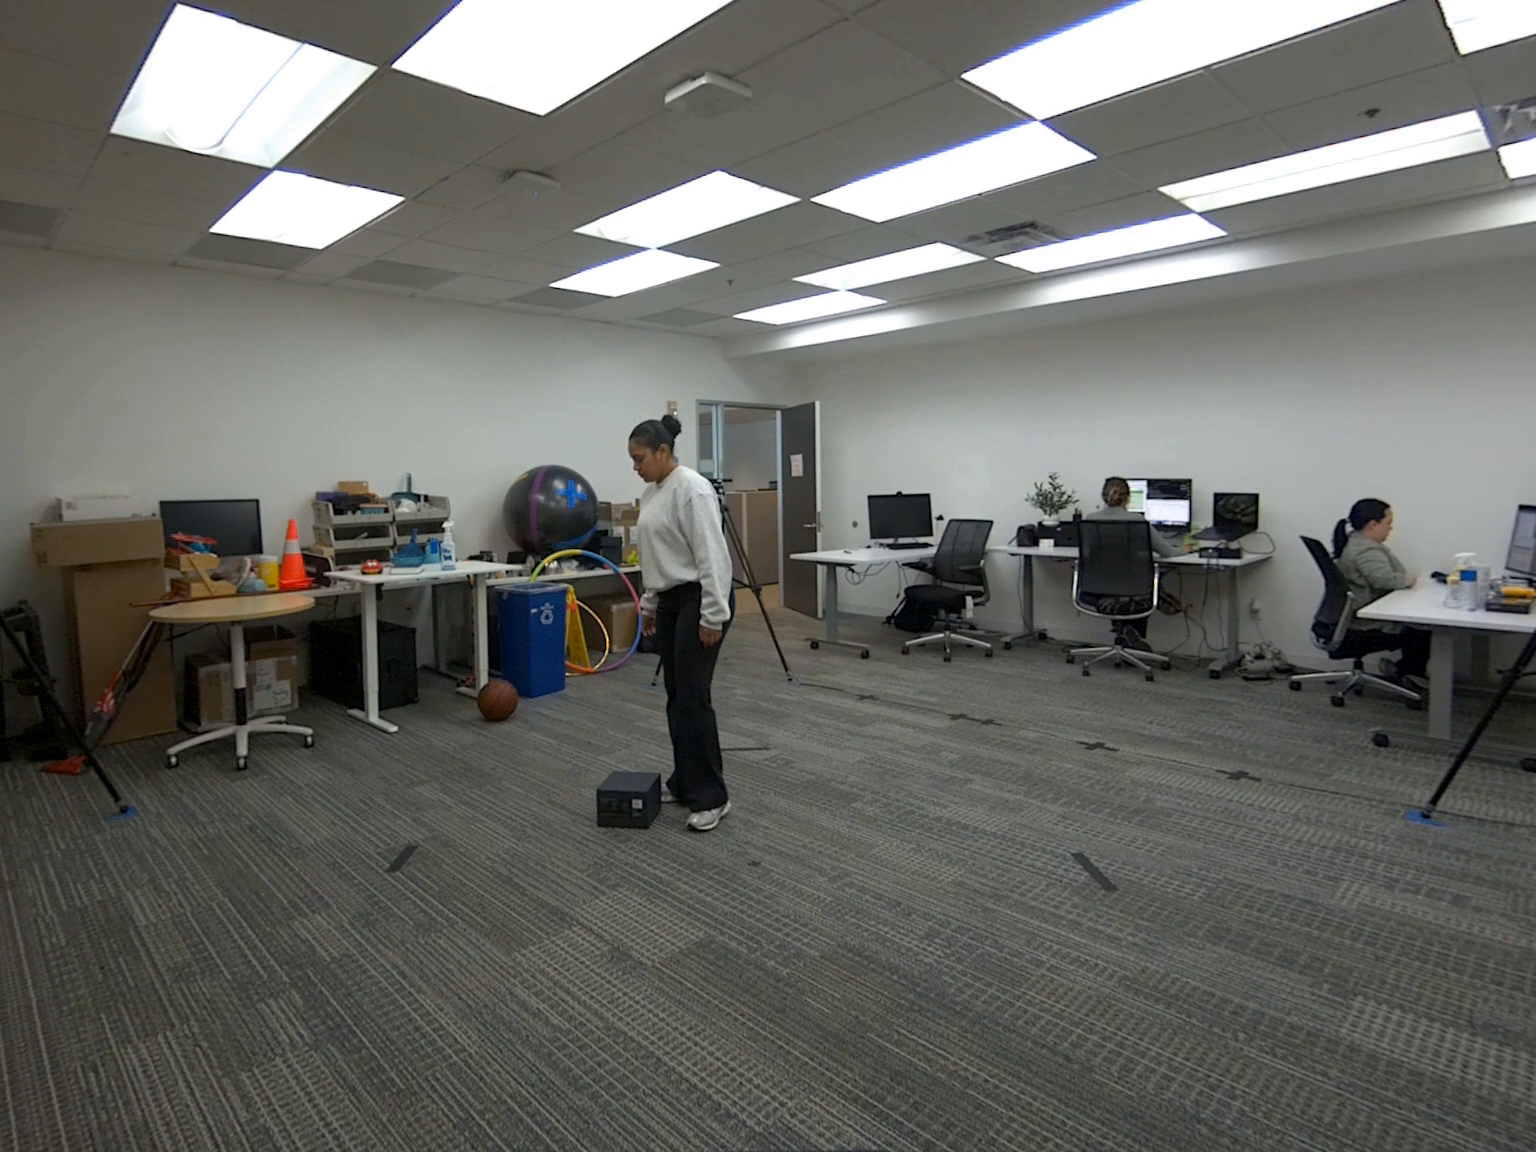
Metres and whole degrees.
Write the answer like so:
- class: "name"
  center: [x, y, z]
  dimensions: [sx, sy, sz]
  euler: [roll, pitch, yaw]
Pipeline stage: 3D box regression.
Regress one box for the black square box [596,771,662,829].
- class: "black square box"
  center: [-0.569, 0.922, 3.546]
  dimensions: [0.219, 0.155, 0.227]
  euler: [0, 5, 8]
